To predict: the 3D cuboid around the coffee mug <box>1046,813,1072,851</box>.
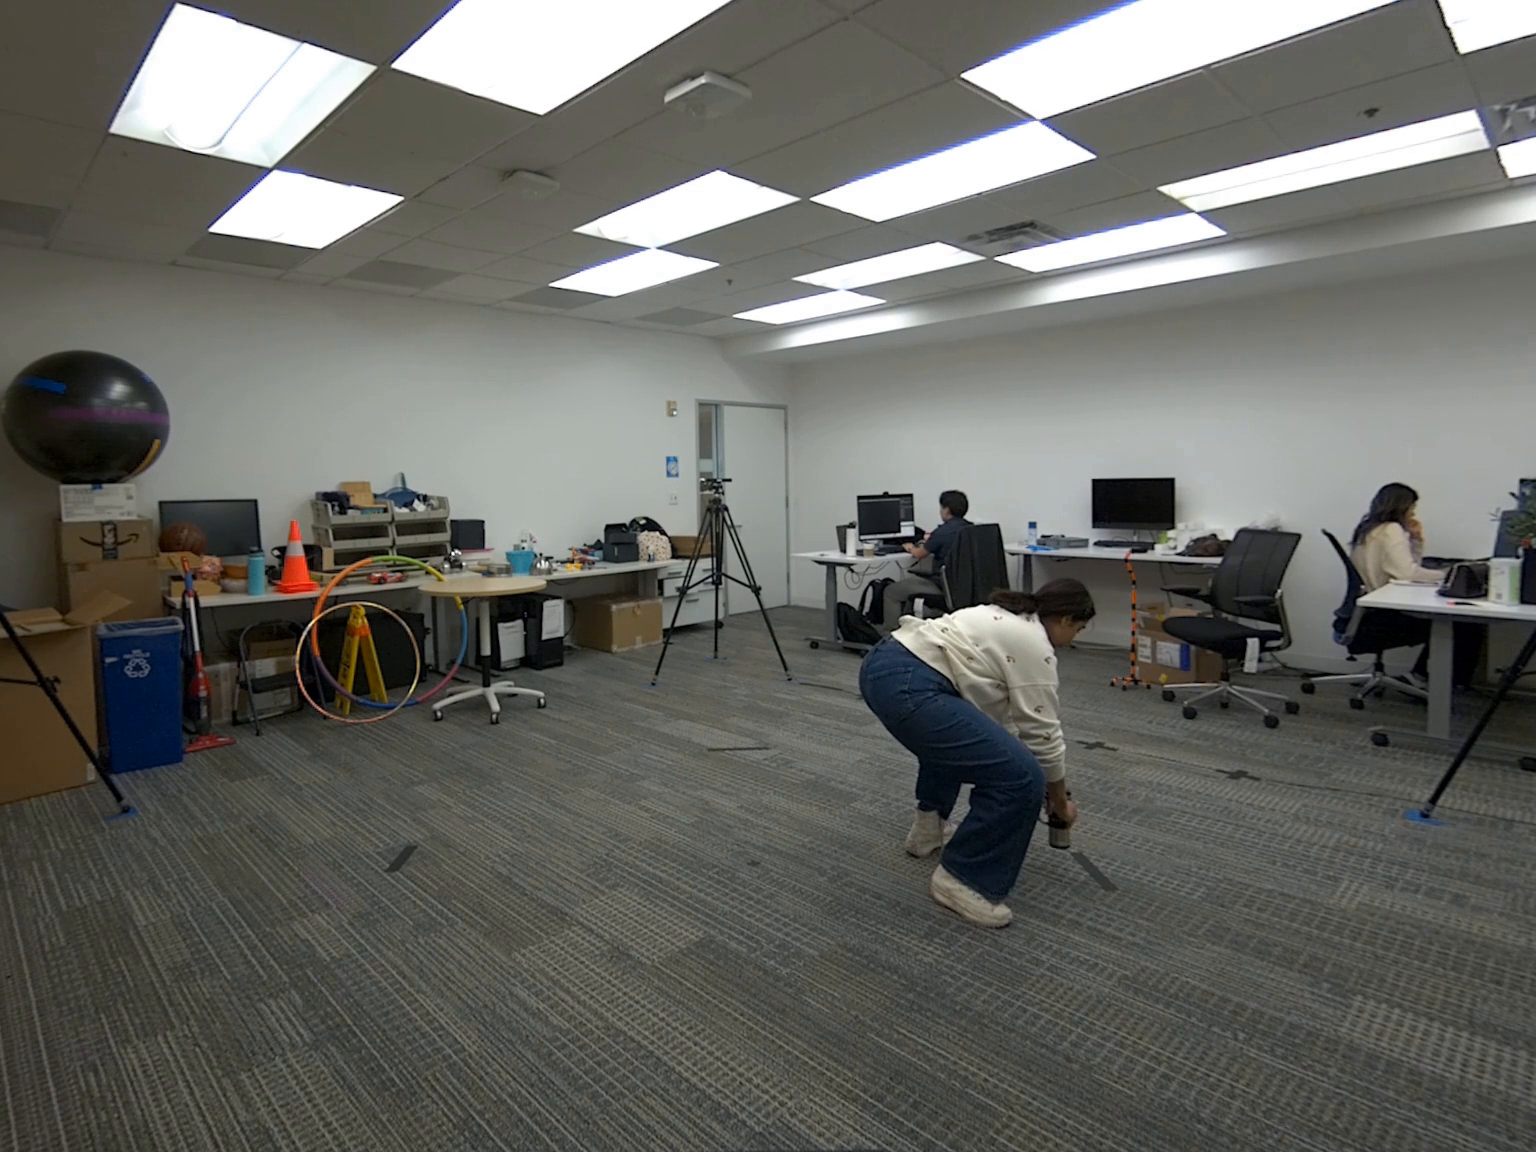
[{"bbox_3d":[1.060,0.862,3.012,0.125,0.203,0.085,-7,-1,41],"label":"coffee mug"}]
